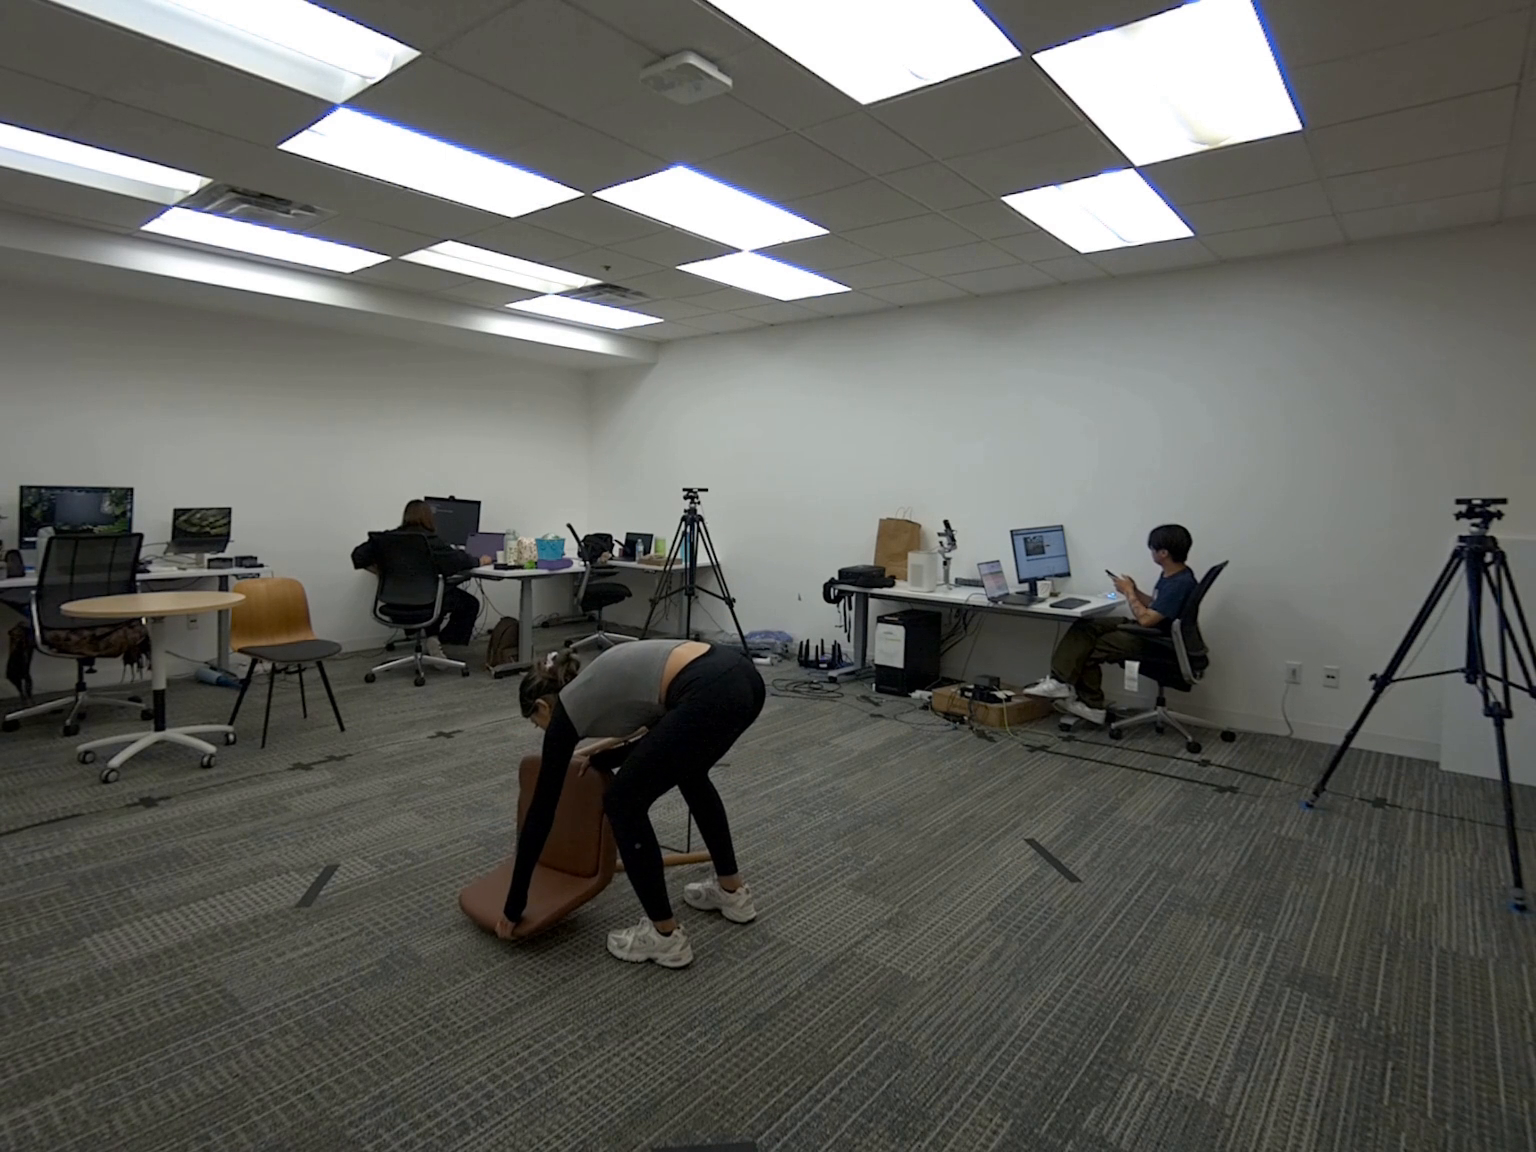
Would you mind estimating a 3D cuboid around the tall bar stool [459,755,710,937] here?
[{"bbox_3d":[-0.598,0.828,2.928,0.471,0.467,0.863,0,1,38],"label":"tall bar stool"}]
